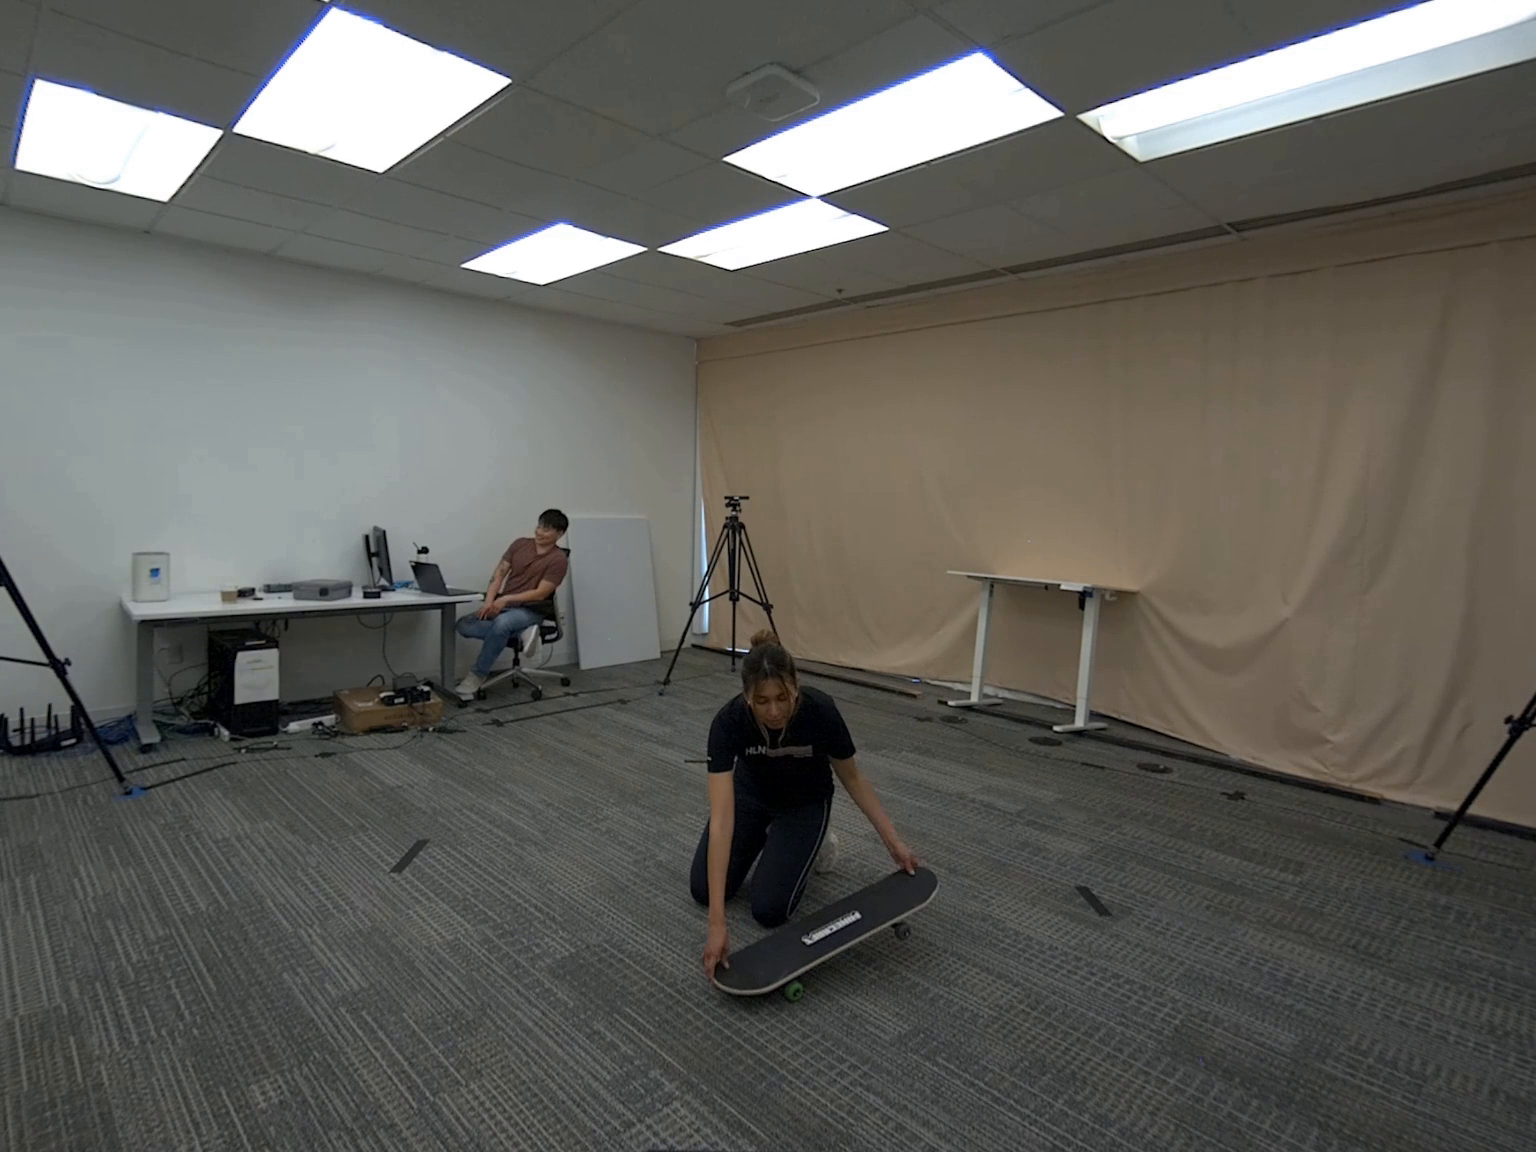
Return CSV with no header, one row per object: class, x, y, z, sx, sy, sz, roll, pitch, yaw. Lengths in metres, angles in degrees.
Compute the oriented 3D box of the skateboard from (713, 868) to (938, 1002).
skateboard,0.183,1.073,2.494,0.774,0.109,0.198,-16,12,-29
